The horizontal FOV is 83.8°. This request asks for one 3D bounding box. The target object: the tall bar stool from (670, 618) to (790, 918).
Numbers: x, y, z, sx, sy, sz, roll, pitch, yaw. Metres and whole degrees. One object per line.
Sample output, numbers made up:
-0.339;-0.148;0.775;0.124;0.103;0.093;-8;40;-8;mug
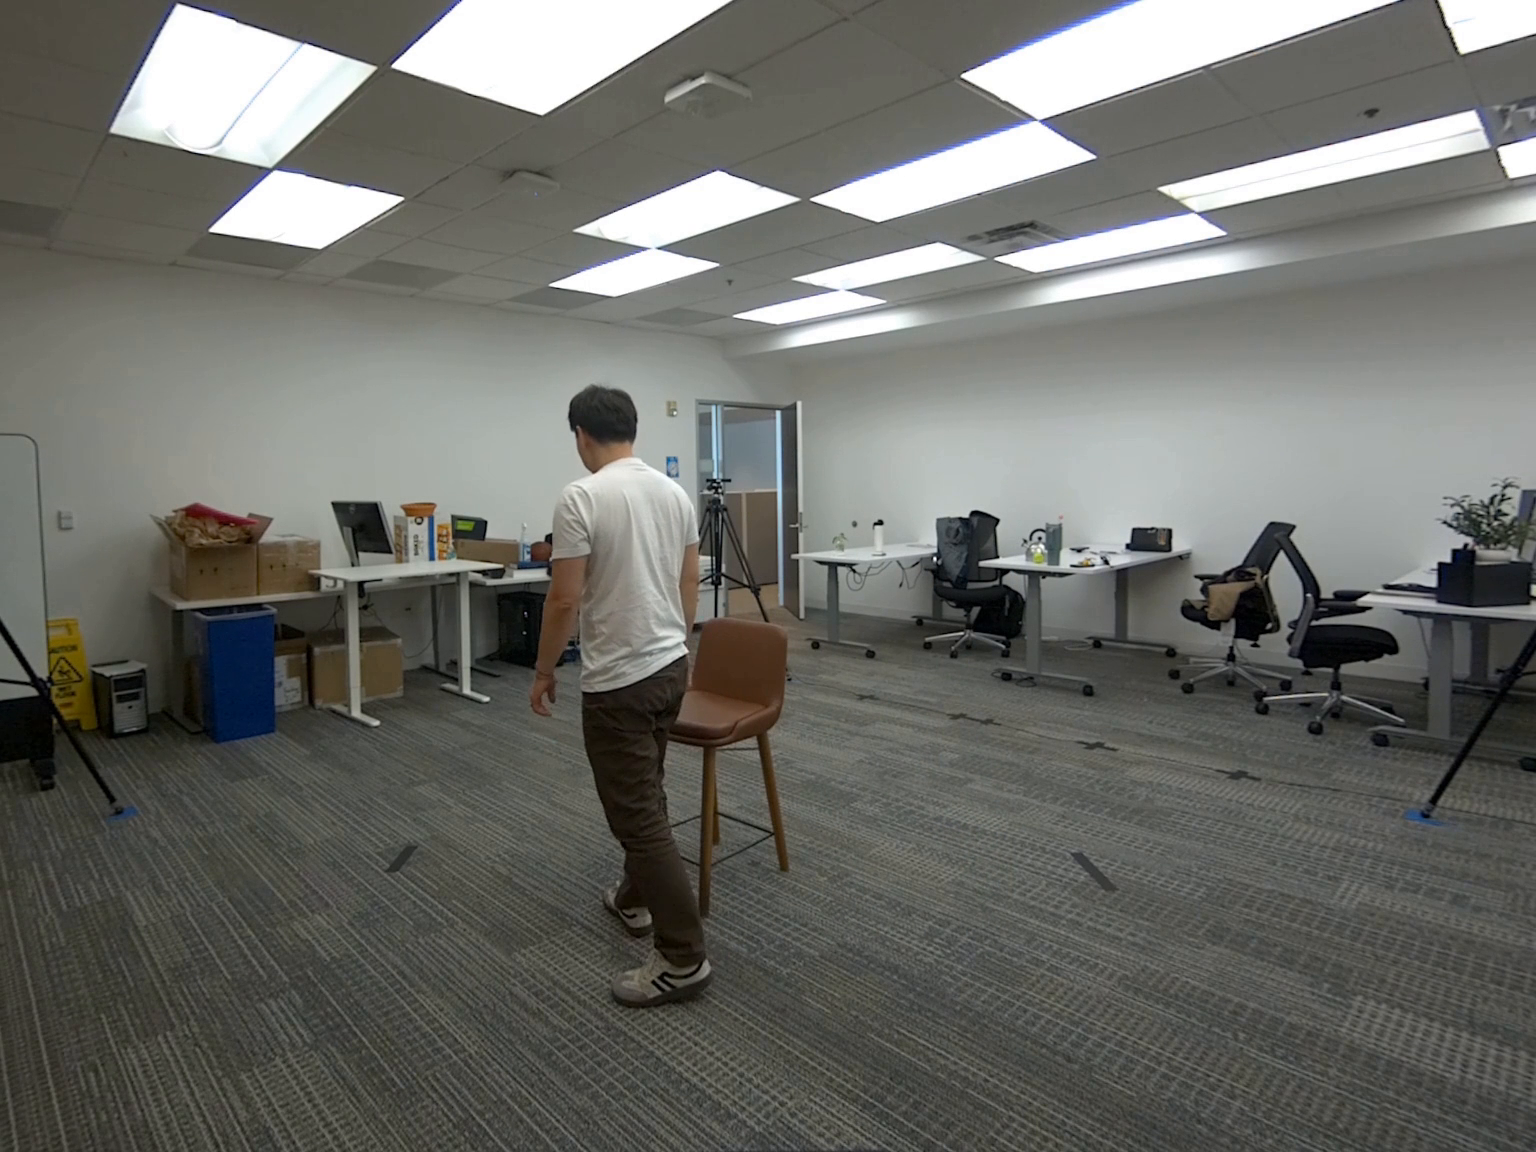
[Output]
-0.209;0.626;2.995;0.470;0.887;0.455;3;4;42;tall bar stool
